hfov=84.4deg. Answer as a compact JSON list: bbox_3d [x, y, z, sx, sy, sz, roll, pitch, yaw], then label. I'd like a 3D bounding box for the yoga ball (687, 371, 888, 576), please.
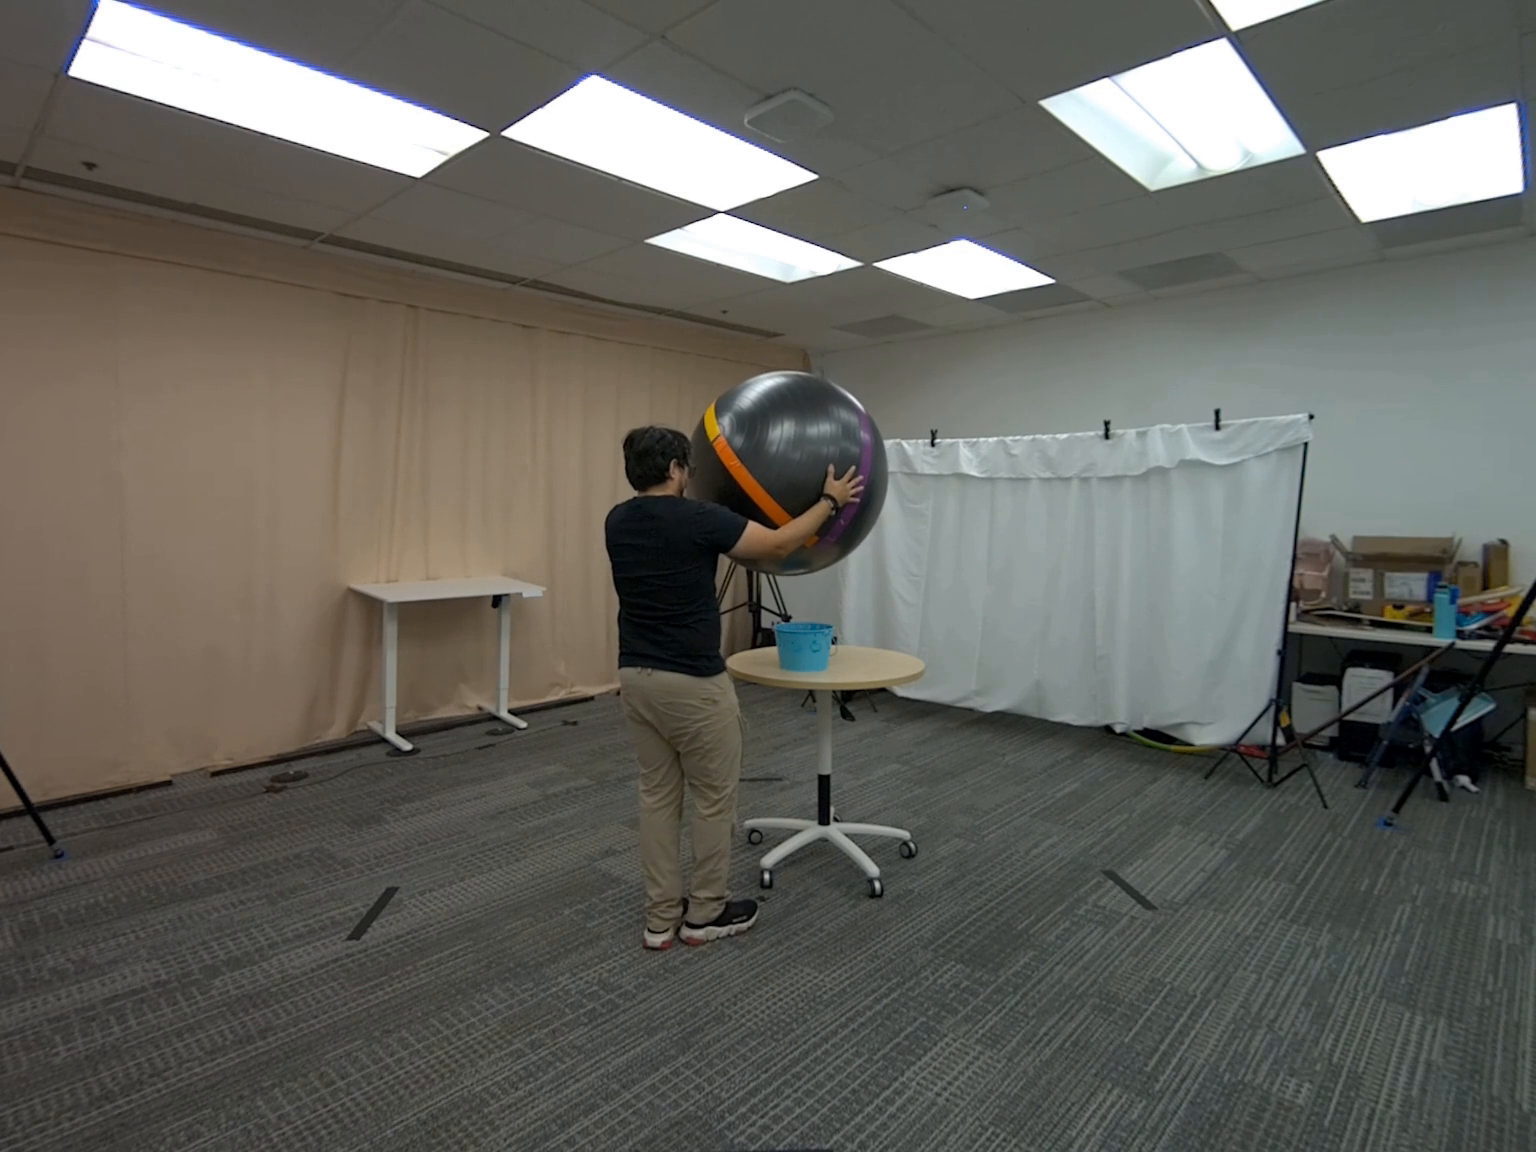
[{"bbox_3d":[0.071,-0.377,3.152,0.757,0.756,0.760,0,4,-2],"label":"yoga ball"}]
